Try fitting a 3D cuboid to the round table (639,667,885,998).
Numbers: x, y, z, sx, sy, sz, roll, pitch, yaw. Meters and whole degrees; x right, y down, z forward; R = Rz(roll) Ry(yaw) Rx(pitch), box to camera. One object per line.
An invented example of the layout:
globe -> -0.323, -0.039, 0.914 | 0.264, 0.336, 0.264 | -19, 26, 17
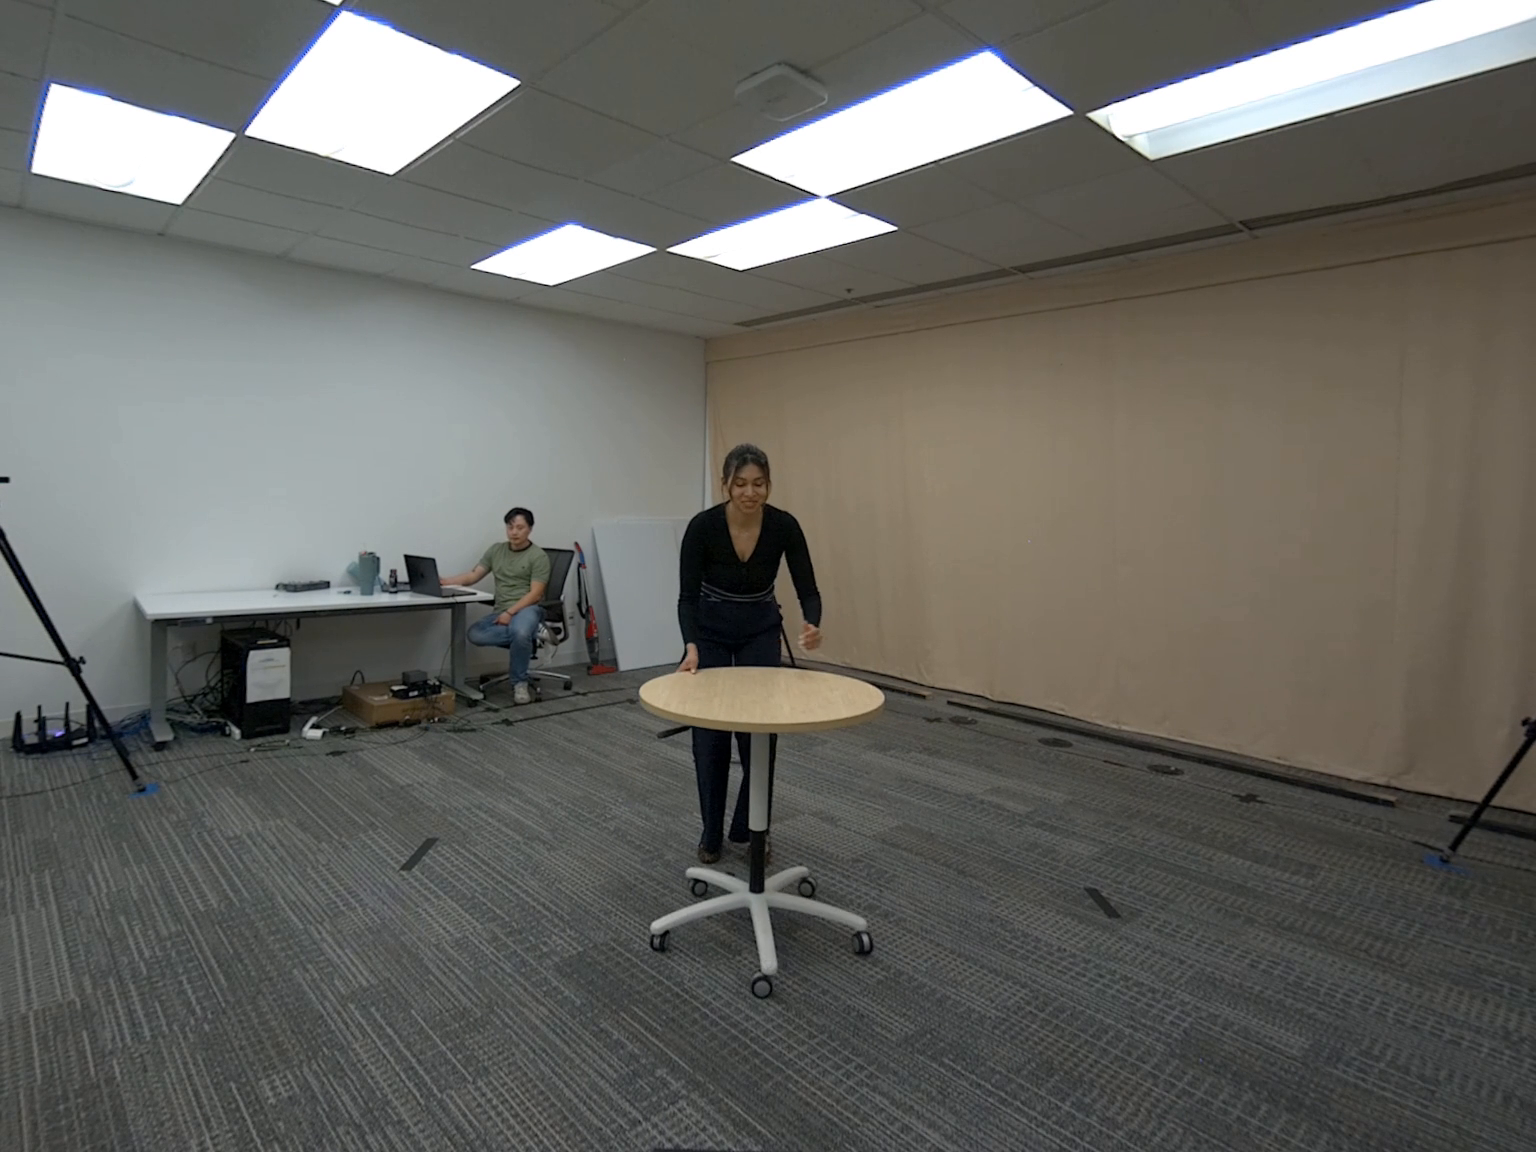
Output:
round table -> -0.036, 0.757, 2.665 | 0.763, 0.792, 0.767 | 1, 4, -1
